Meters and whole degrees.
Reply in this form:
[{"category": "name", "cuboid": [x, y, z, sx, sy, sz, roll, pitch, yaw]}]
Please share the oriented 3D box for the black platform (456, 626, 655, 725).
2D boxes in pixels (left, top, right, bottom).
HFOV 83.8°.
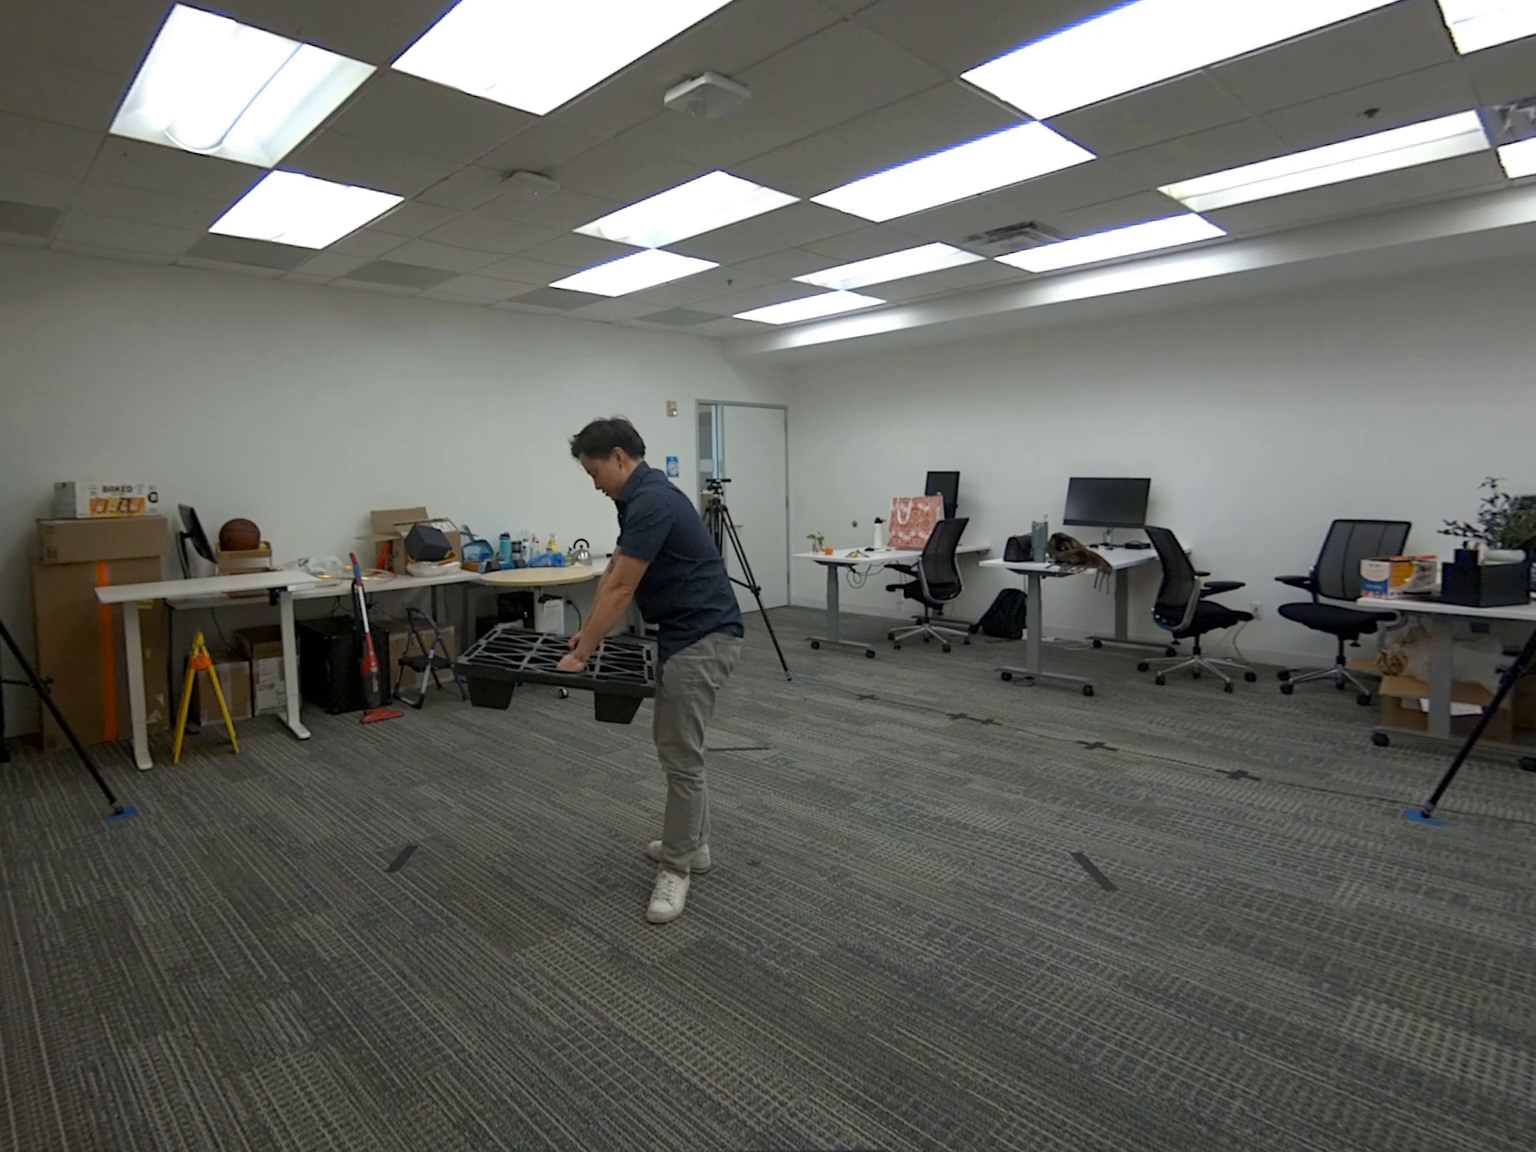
[{"category": "black platform", "cuboid": [-0.695, 0.329, 2.910, 0.600, 0.143, 0.813, 8, 2, -9]}]
